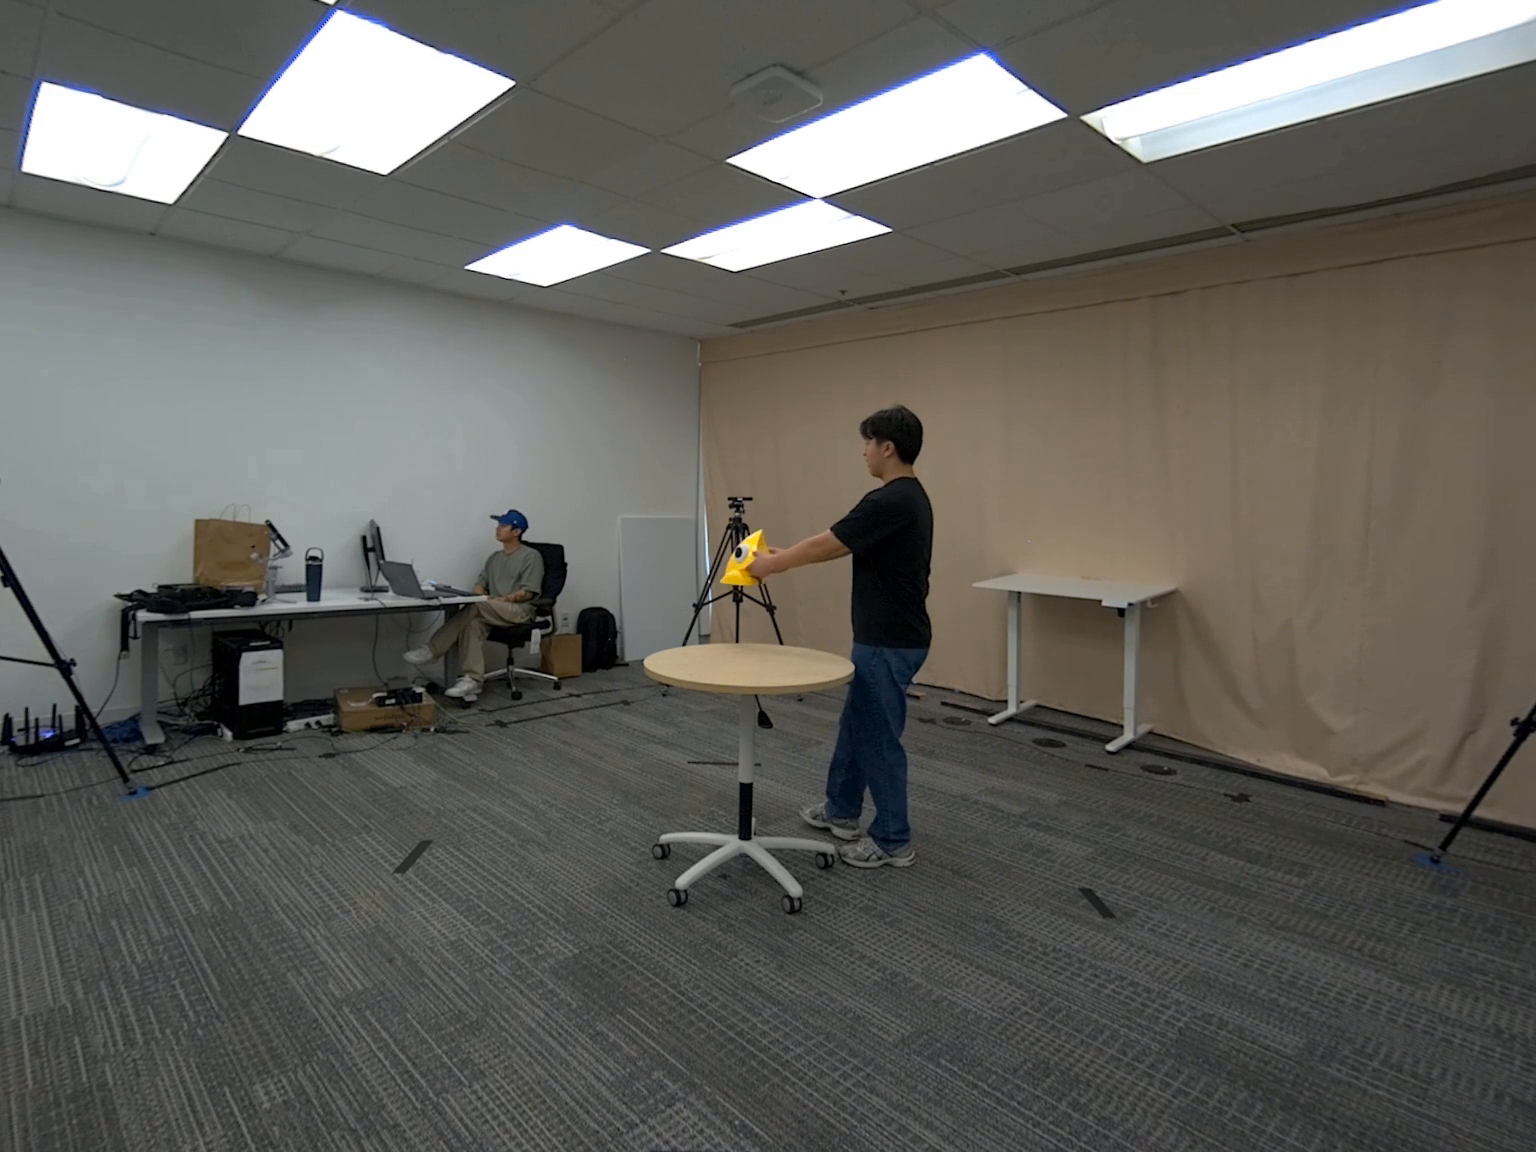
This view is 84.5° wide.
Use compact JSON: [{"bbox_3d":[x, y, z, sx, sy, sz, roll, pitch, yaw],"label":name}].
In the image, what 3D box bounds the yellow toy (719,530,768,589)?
[{"bbox_3d":[-0.093,-0.086,3.537,0.196,0.230,0.202,5,5,22],"label":"yellow toy"}]
